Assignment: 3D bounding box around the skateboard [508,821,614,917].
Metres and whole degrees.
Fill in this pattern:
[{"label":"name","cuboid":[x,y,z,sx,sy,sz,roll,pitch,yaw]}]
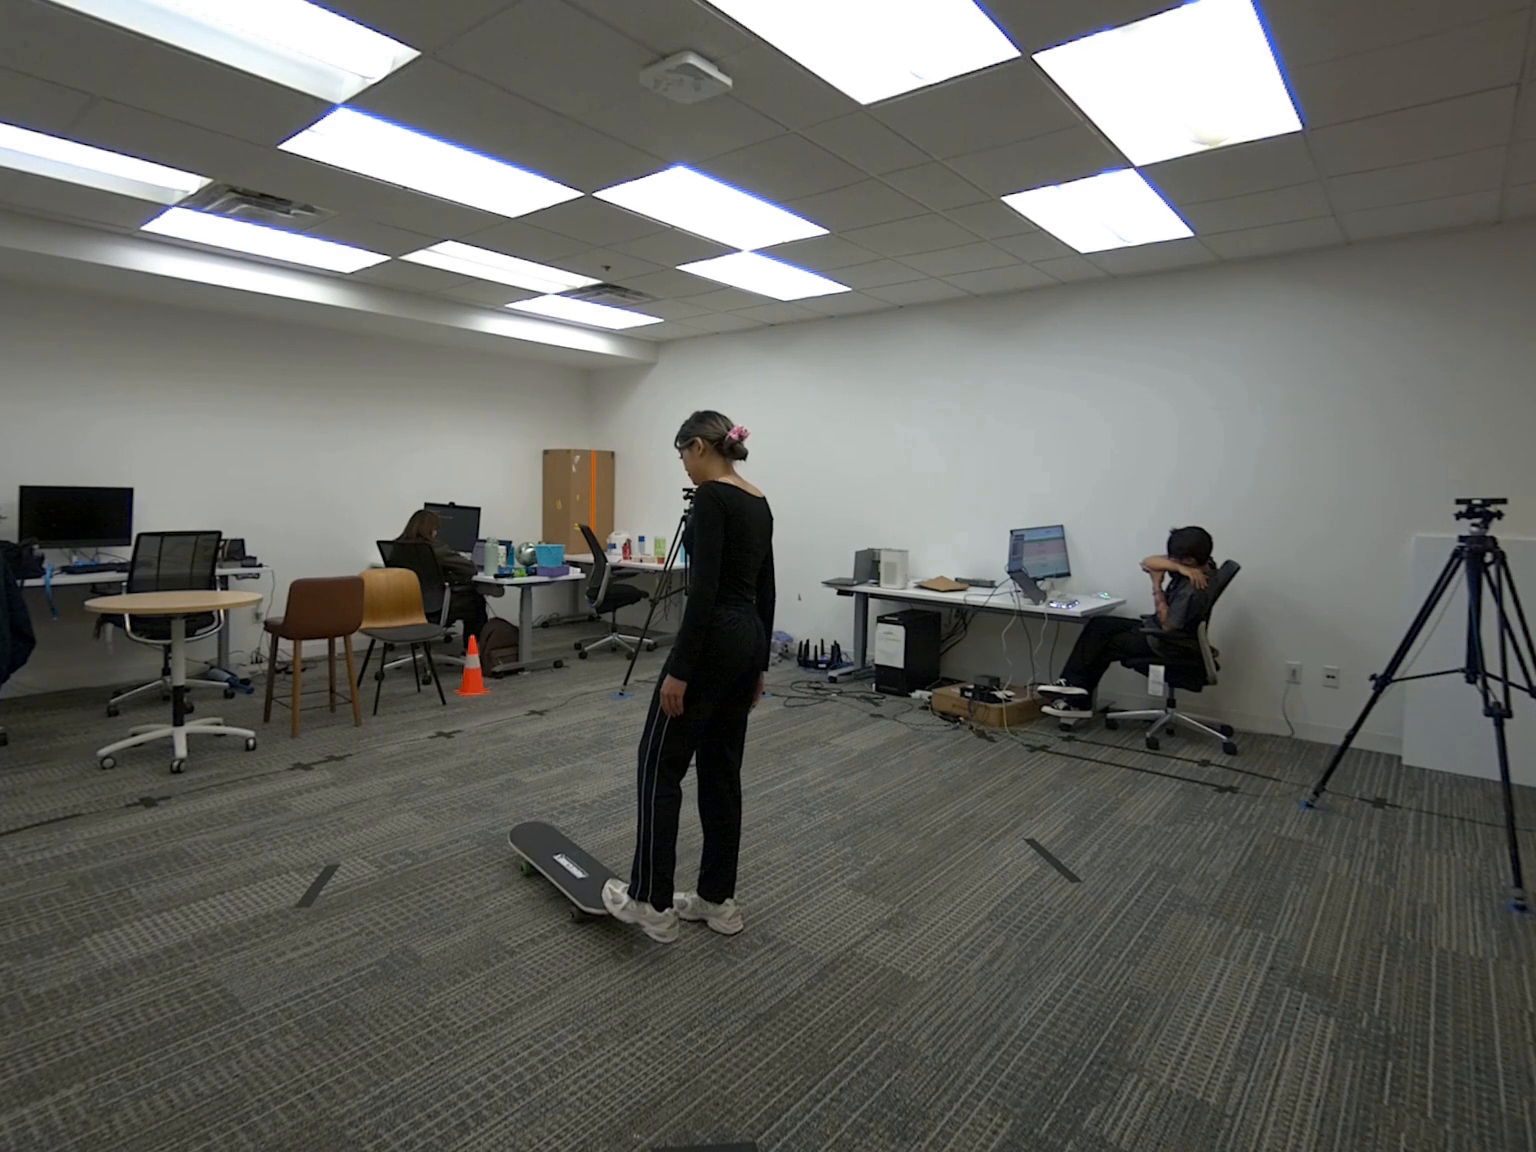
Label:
[{"label":"skateboard","cuboid":[-0.691,1.020,2.916,0.188,0.110,0.812,-3,7,-38]}]
